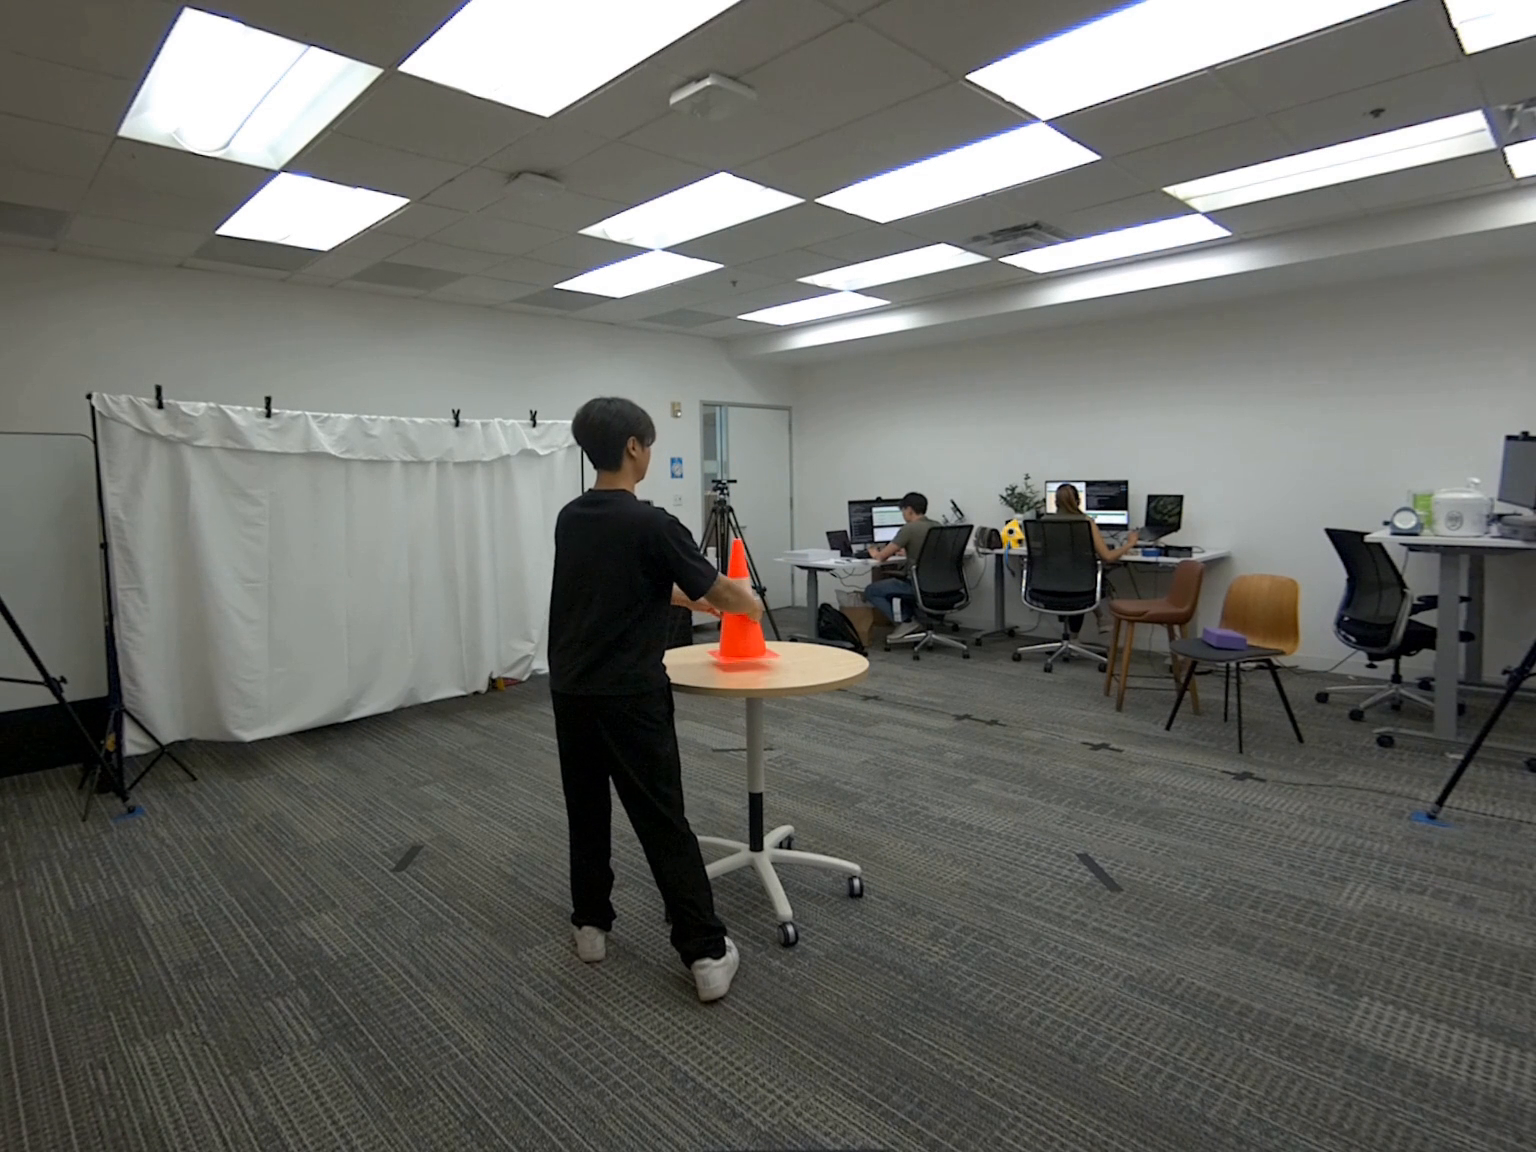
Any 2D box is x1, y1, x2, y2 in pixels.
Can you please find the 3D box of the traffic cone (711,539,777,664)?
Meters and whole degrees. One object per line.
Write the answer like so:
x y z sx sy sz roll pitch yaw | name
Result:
-0.092 0.067 2.815 0.199 0.383 0.209 -3 1 -26 | traffic cone
